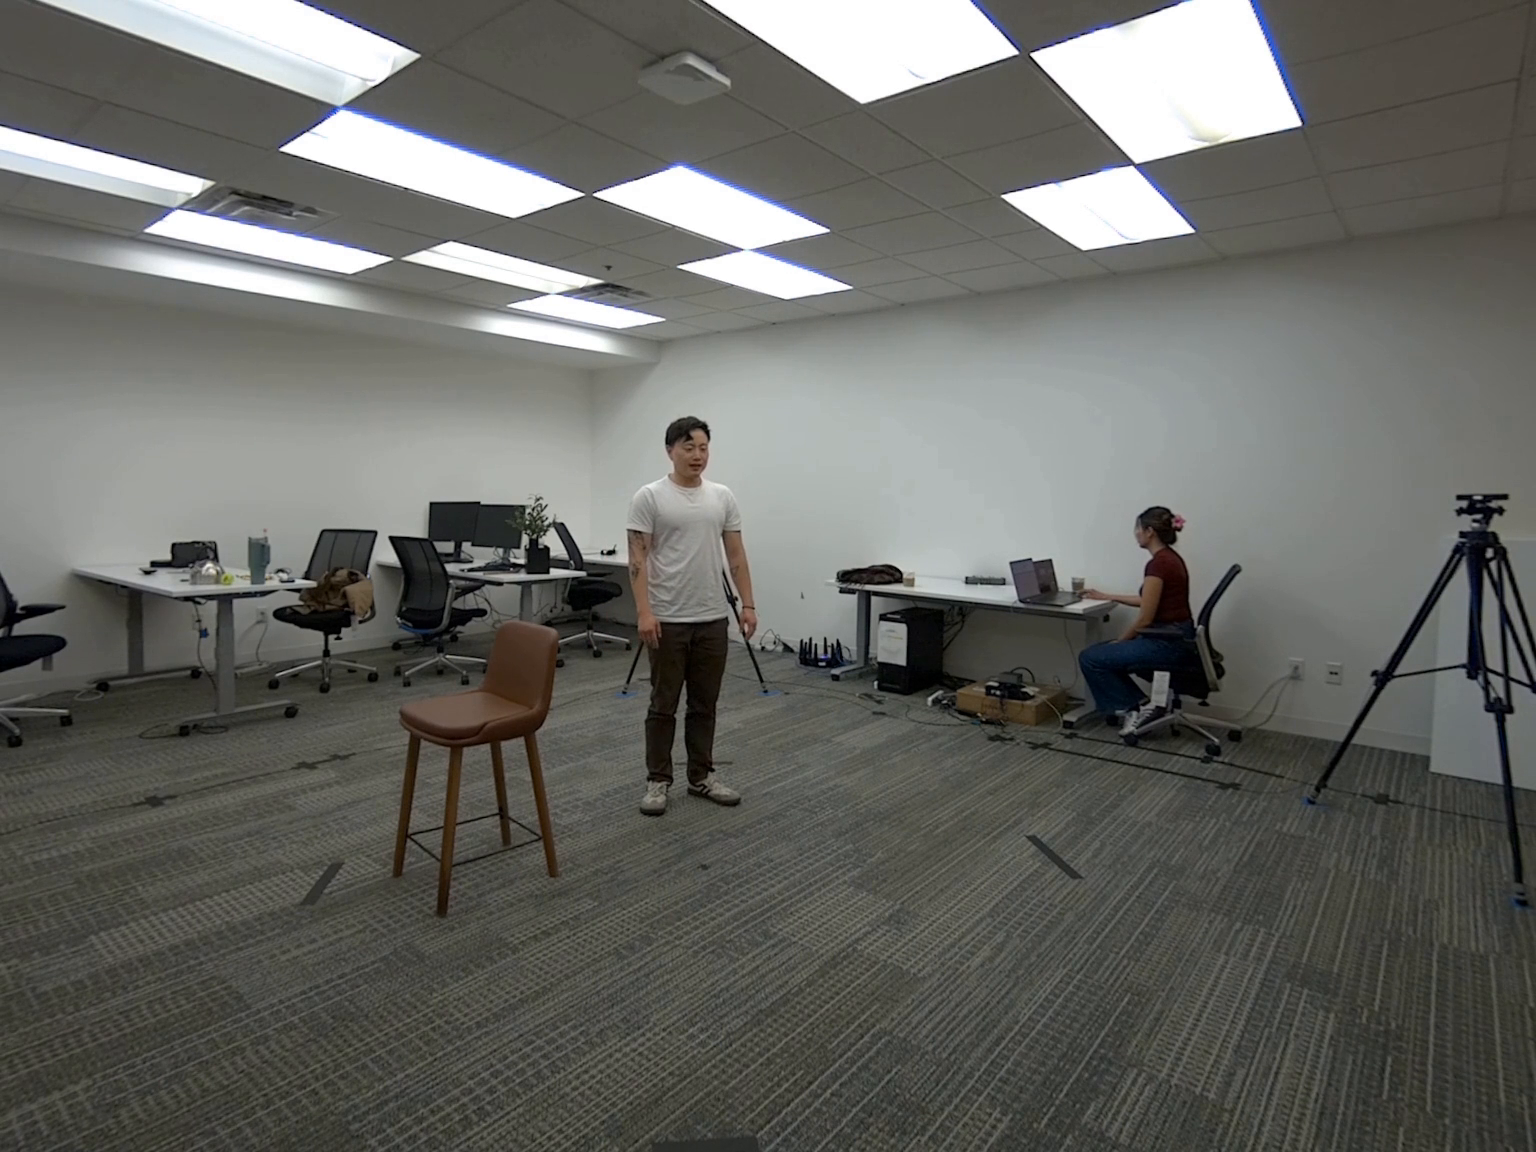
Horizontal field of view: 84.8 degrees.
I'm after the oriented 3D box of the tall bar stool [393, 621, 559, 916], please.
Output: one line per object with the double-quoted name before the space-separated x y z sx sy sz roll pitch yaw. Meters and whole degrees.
"tall bar stool" -1.039 0.632 3.004 0.453 0.888 0.472 0 3 -44
